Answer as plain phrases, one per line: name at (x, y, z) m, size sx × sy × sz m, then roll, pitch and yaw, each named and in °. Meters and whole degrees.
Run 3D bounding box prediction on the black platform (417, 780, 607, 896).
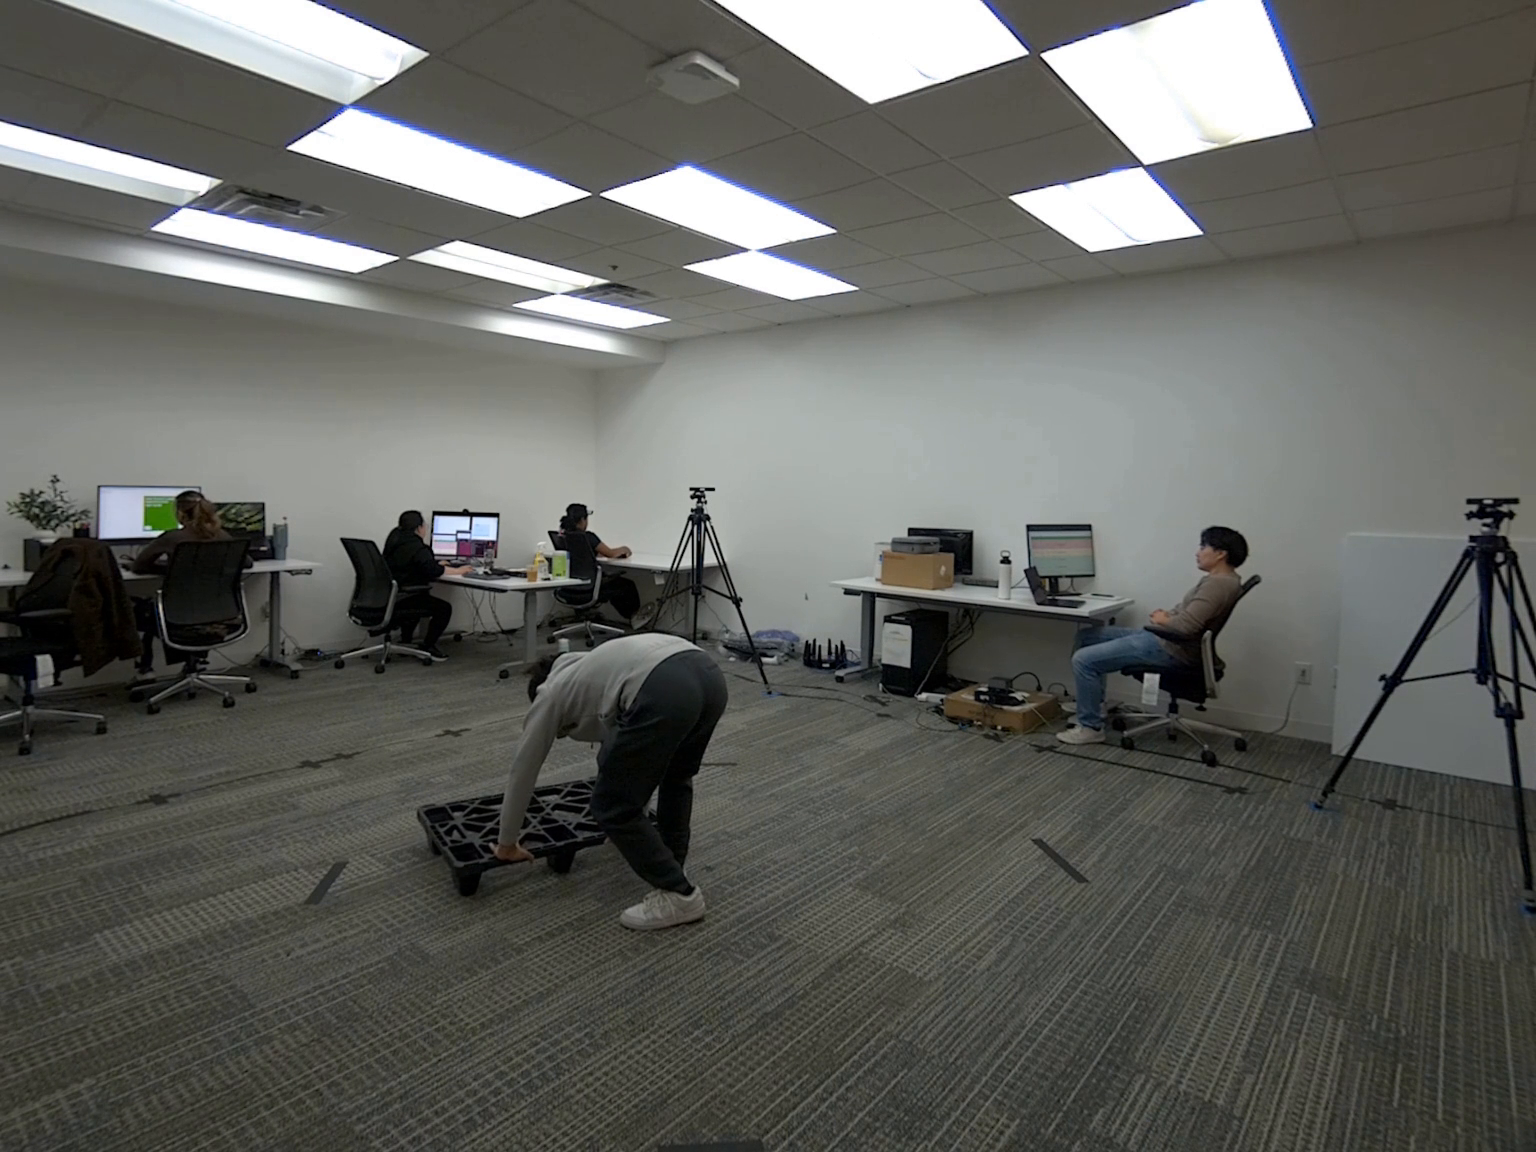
black platform at (-0.886, 0.972, 3.251) m, size 0.783 × 0.143 × 0.624 m, roll -2°, pitch 6°, yaw -33°
